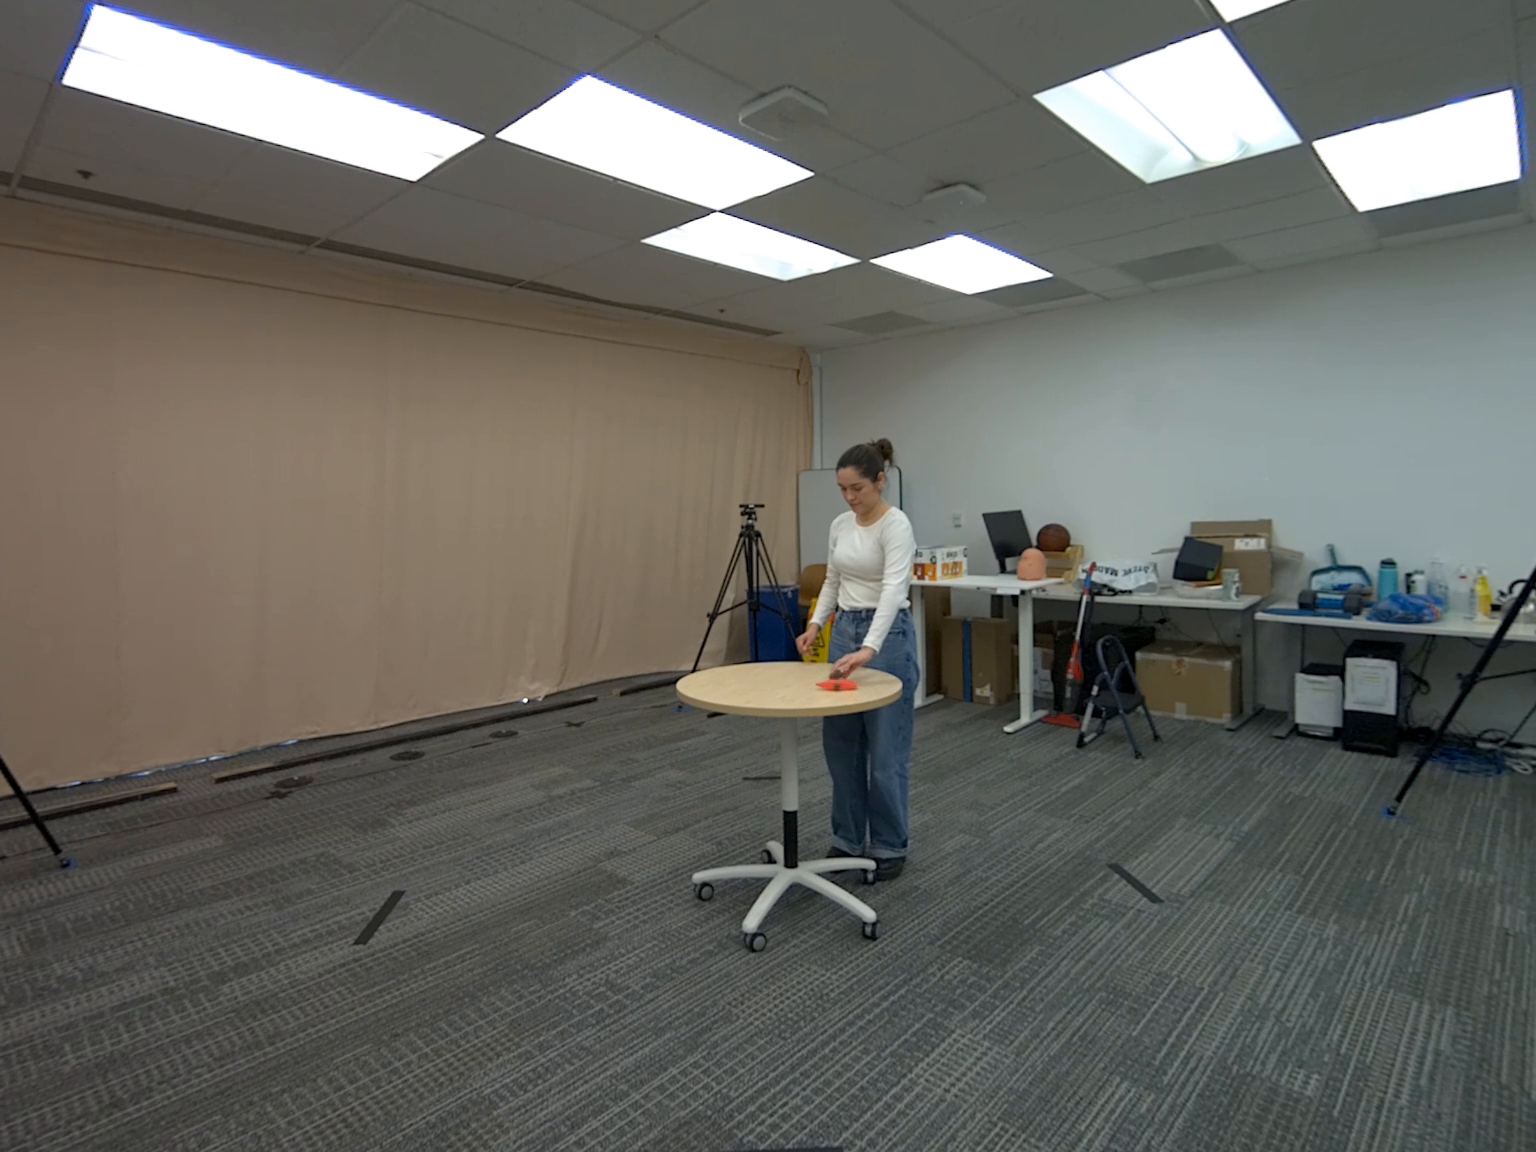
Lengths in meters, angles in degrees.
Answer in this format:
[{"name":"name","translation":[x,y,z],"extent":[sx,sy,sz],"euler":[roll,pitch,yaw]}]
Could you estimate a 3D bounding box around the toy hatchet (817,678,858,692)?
[{"name":"toy hatchet","translation":[0.269,0.349,2.843],"extent":[0.134,0.029,0.265],"euler":[-3,6,20]}]
